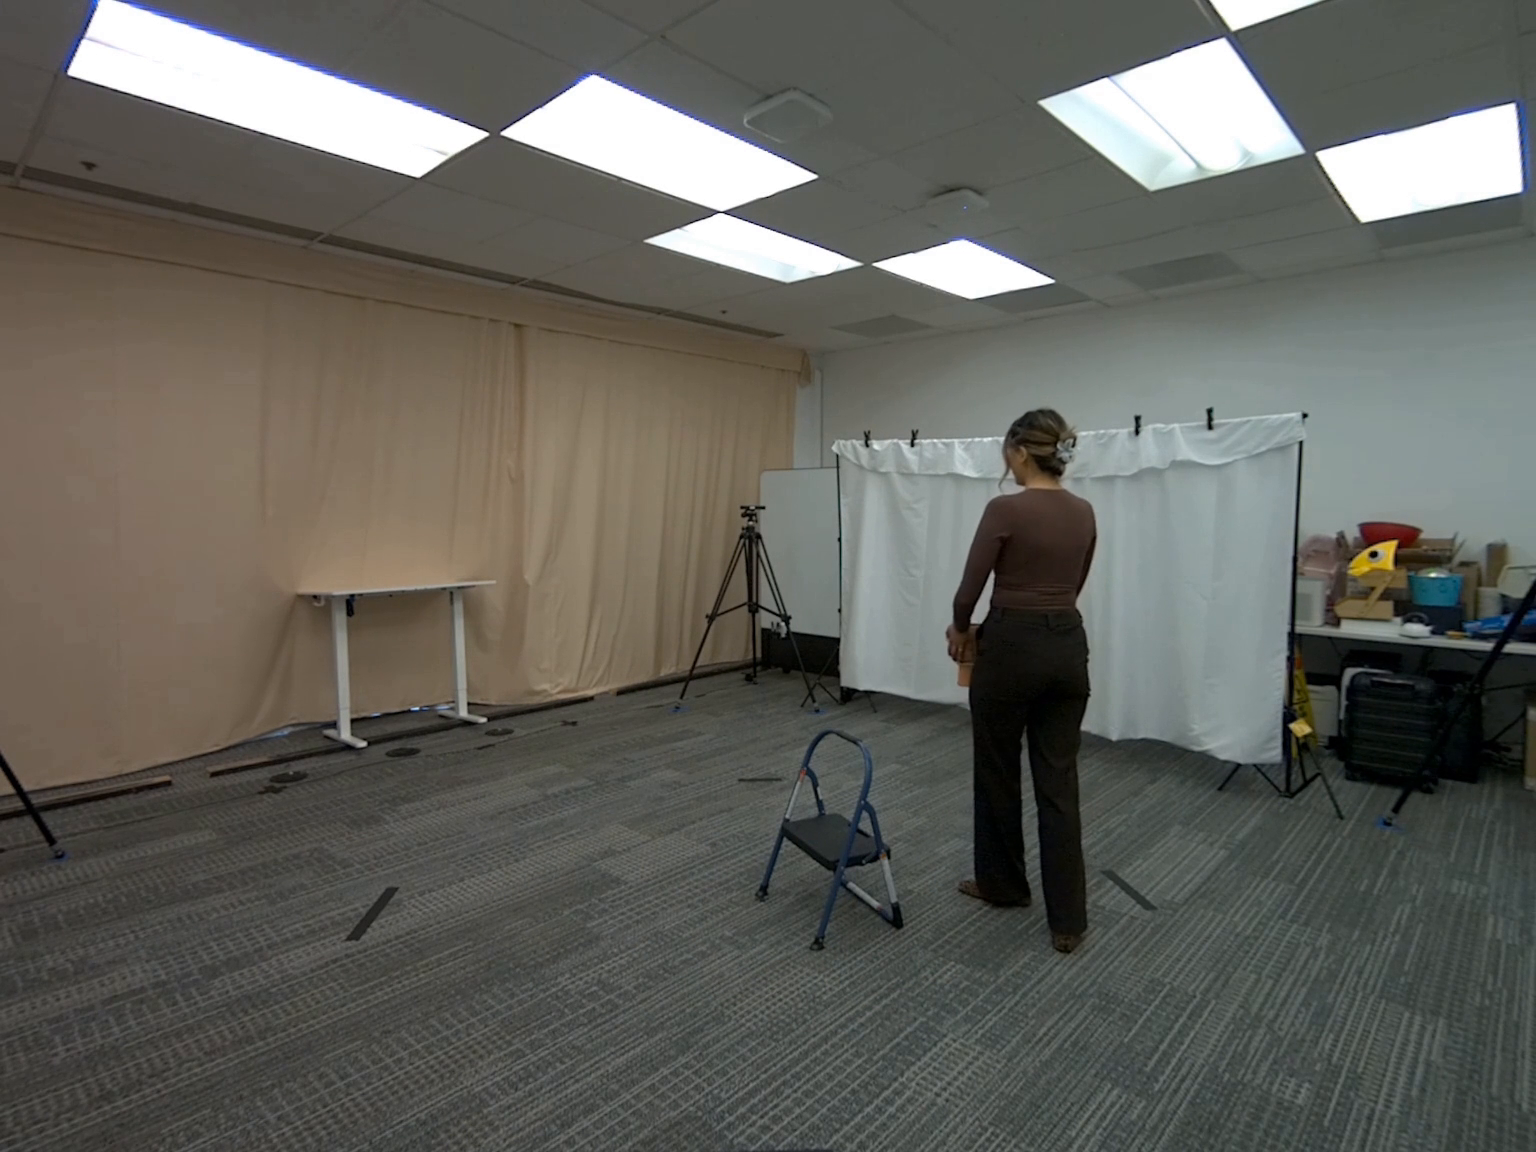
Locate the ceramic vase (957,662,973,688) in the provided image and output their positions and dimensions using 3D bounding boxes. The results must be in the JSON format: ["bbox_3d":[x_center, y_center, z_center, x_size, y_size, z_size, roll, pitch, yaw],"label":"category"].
[{"bbox_3d":[0.751,0.288,3.073,0.134,0.220,0.159,-3,0,-2],"label":"ceramic vase"}]
